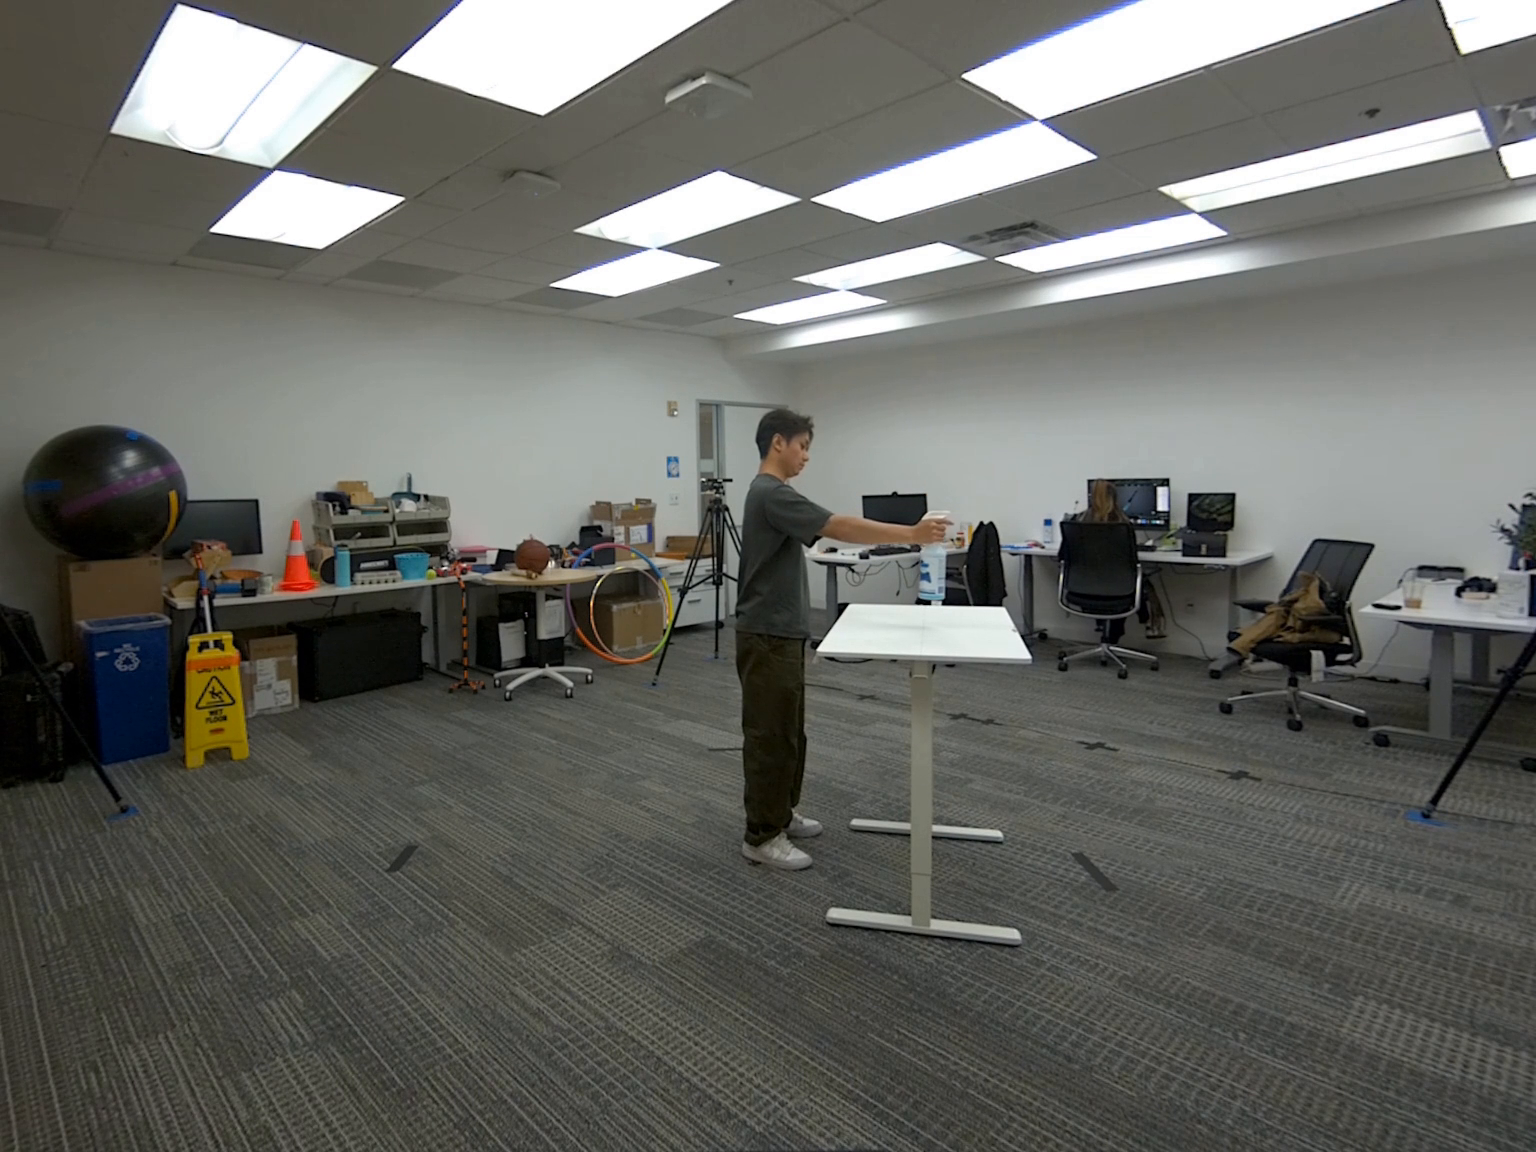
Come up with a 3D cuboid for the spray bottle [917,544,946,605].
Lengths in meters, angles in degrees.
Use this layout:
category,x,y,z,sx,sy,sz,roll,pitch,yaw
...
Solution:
category,x,y,z,sx,sy,sz,roll,pitch,yaw
spray bottle,0.560,-0.070,2.881,0.092,0.296,0.085,4,5,29
